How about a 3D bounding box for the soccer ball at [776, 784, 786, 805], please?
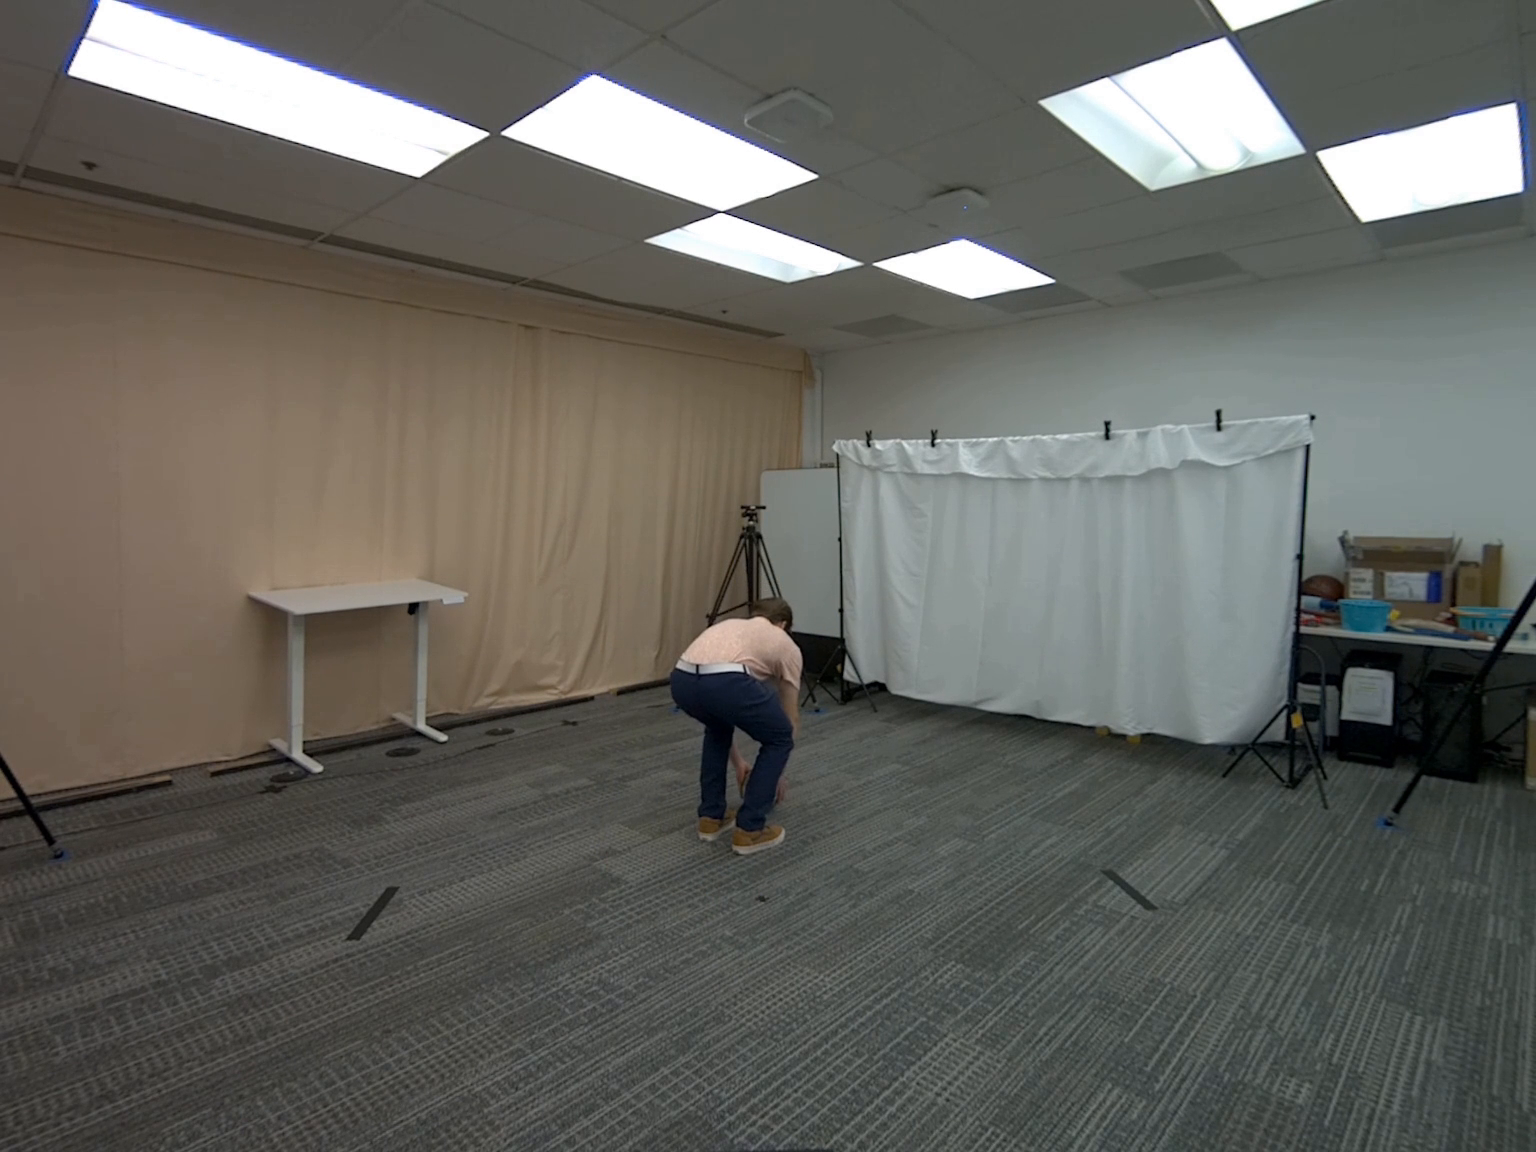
[{"bbox_3d":[-0.020,0.973,3.856,0.187,0.187,0.188,0,4,-2],"label":"soccer ball"}]
